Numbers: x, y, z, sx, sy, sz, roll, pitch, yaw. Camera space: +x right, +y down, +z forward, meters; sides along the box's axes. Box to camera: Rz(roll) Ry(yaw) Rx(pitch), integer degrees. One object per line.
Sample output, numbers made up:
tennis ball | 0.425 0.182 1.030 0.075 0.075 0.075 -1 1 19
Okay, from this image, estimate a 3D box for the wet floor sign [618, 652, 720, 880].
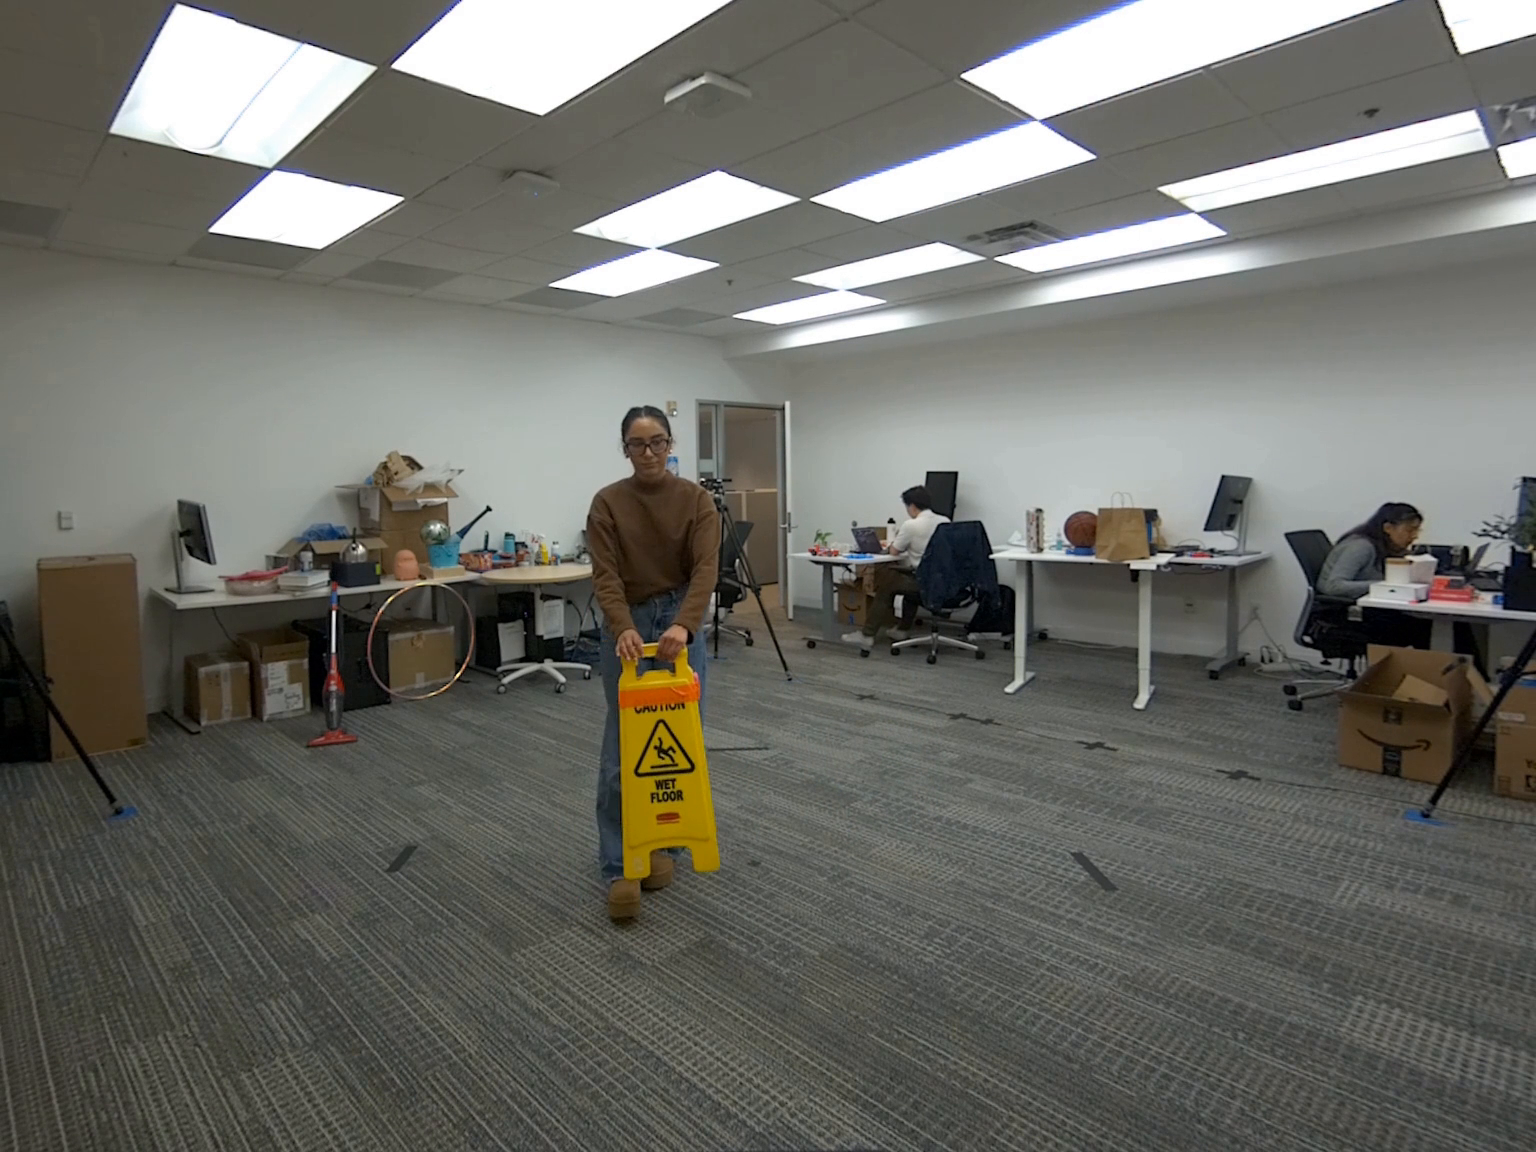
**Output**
wet floor sign | -0.326 0.543 2.581 0.281 0.644 0.292 -5 4 -4
